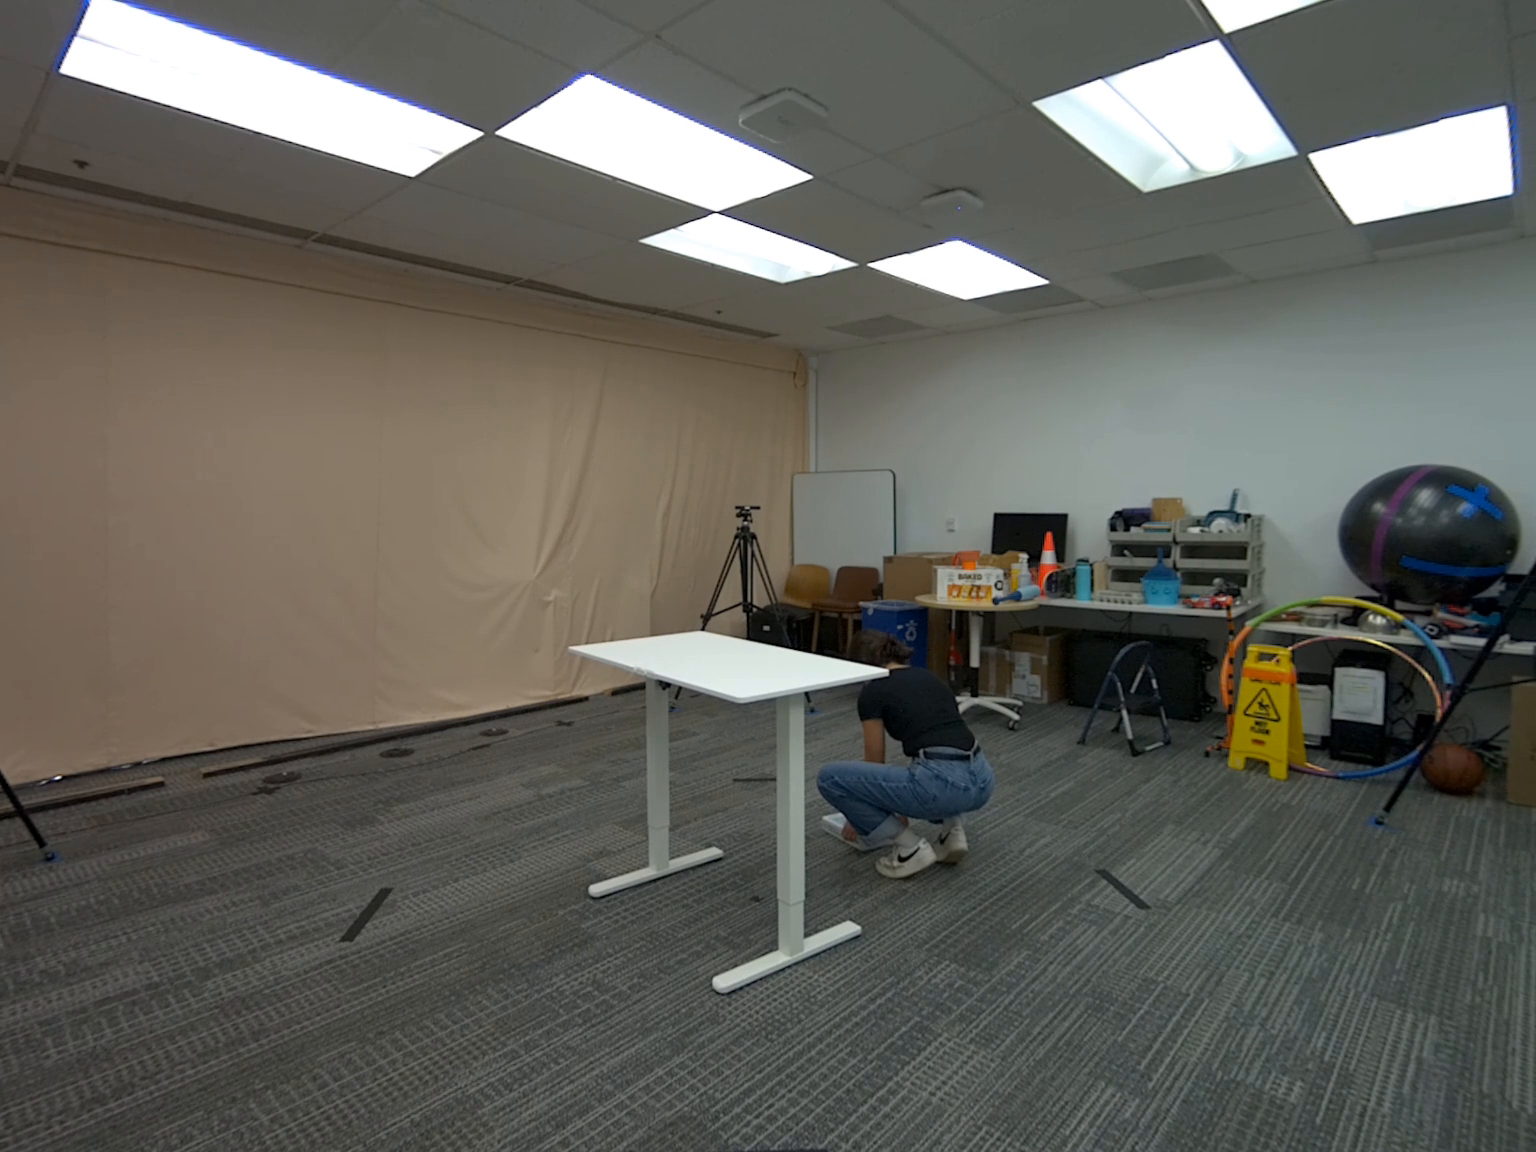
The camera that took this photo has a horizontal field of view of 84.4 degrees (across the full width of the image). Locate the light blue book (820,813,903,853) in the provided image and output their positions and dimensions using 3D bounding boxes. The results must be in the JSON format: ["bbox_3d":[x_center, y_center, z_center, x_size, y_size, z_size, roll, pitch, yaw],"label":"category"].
[{"bbox_3d":[0.383,1.067,3.543,0.186,0.059,0.269,-2,5,-32],"label":"light blue book"}]
